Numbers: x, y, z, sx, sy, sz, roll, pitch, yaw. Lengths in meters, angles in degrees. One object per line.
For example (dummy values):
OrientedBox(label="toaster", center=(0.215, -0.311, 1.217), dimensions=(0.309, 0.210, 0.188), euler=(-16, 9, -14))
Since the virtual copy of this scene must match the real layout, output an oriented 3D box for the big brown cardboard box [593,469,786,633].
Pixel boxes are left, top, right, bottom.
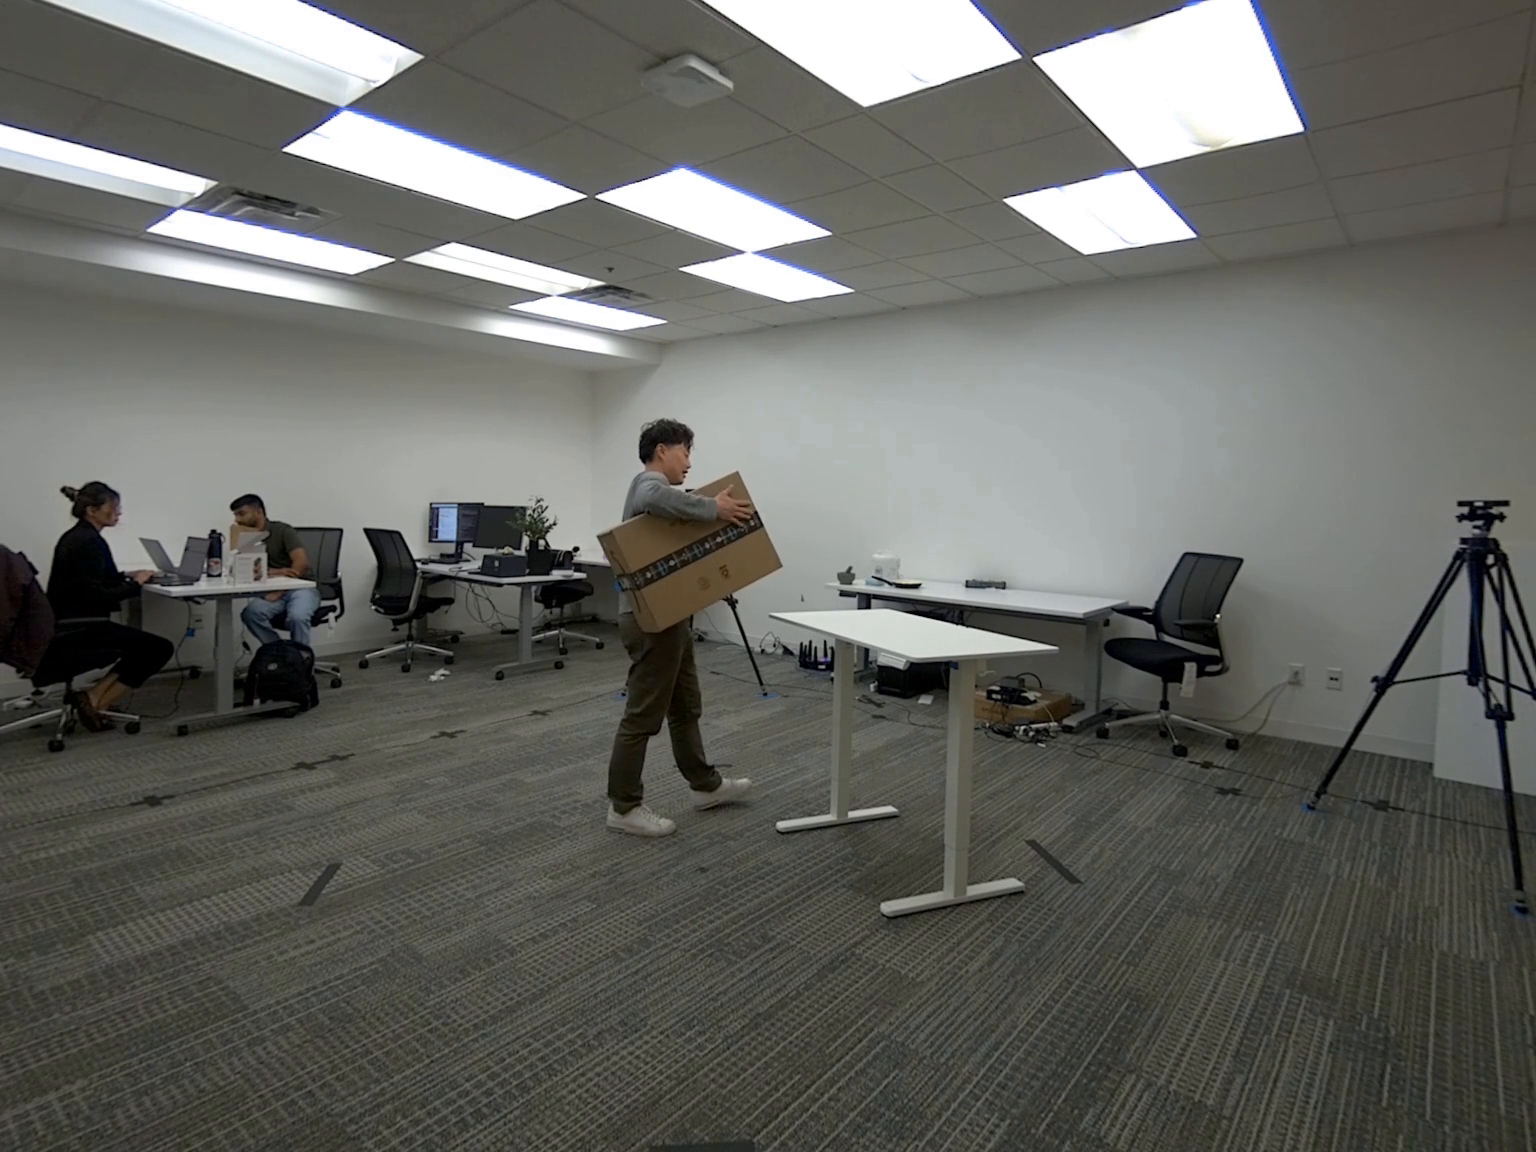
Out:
OrientedBox(label="big brown cardboard box", center=(-0.305, -0.096, 3.279), dimensions=(0.582, 0.415, 0.237), euler=(-27, 5, -22))
